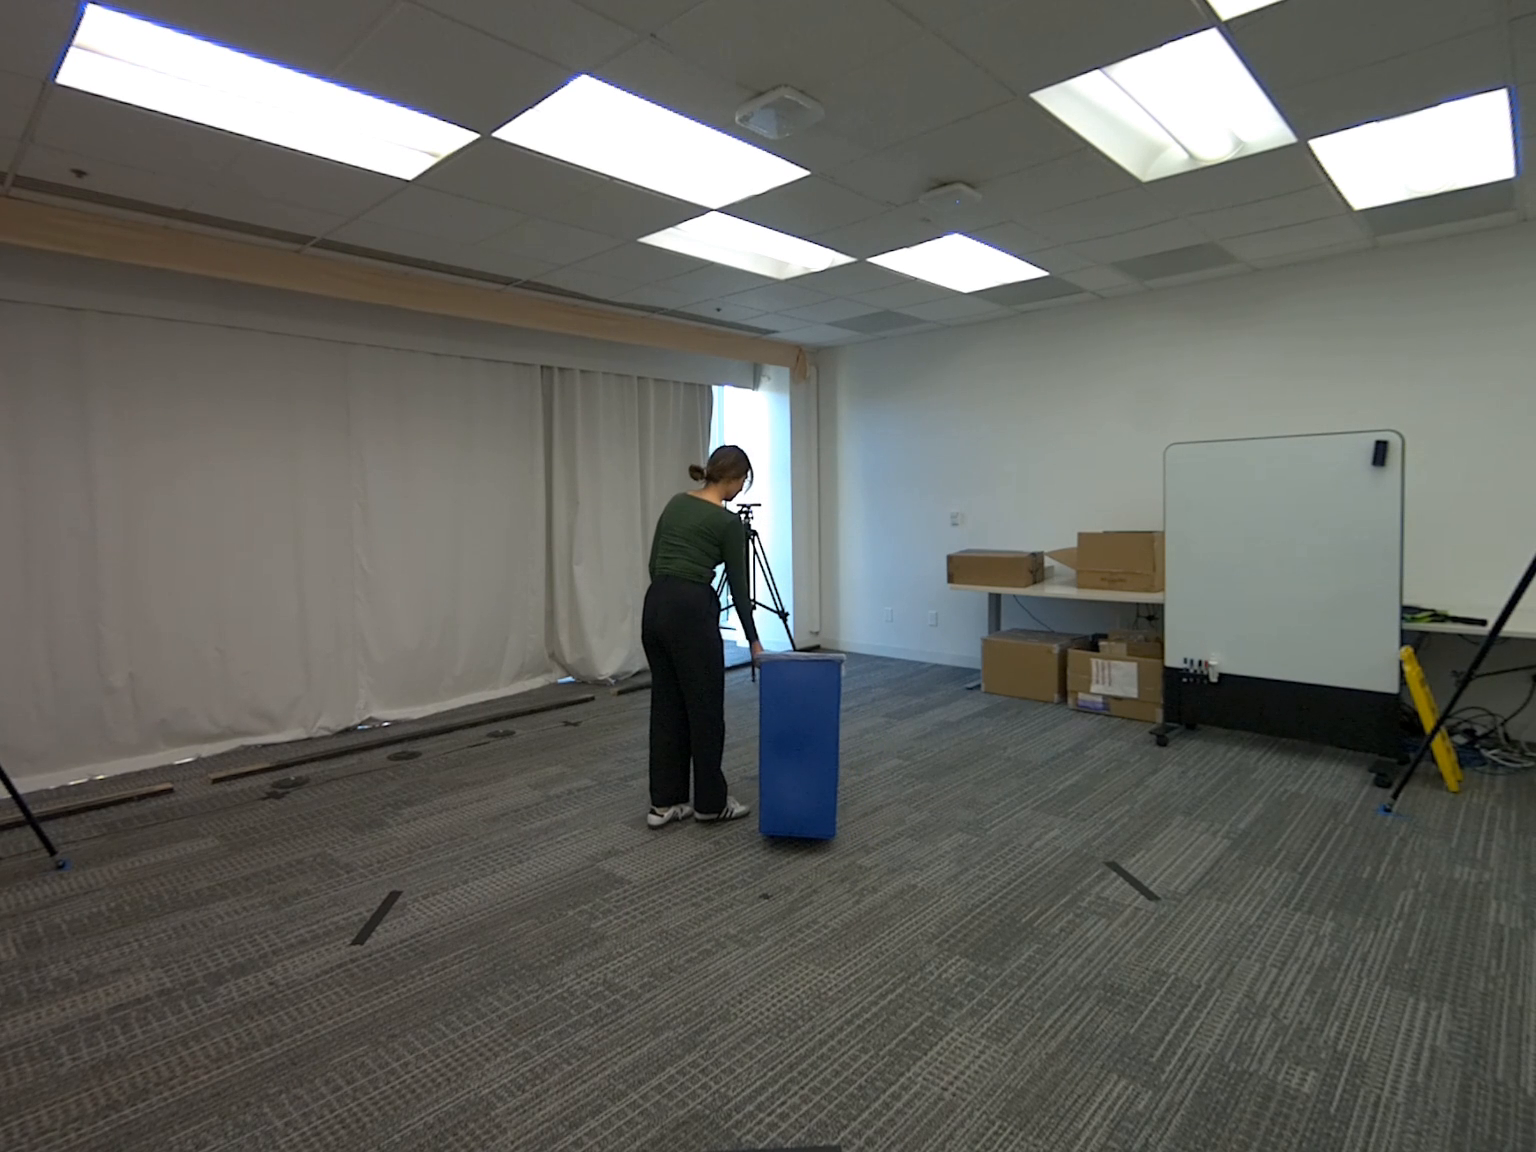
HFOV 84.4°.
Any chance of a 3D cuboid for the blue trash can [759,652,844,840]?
[{"bbox_3d":[0.132,0.700,3.523,0.380,0.719,0.369,0,-12,4],"label":"blue trash can"}]
